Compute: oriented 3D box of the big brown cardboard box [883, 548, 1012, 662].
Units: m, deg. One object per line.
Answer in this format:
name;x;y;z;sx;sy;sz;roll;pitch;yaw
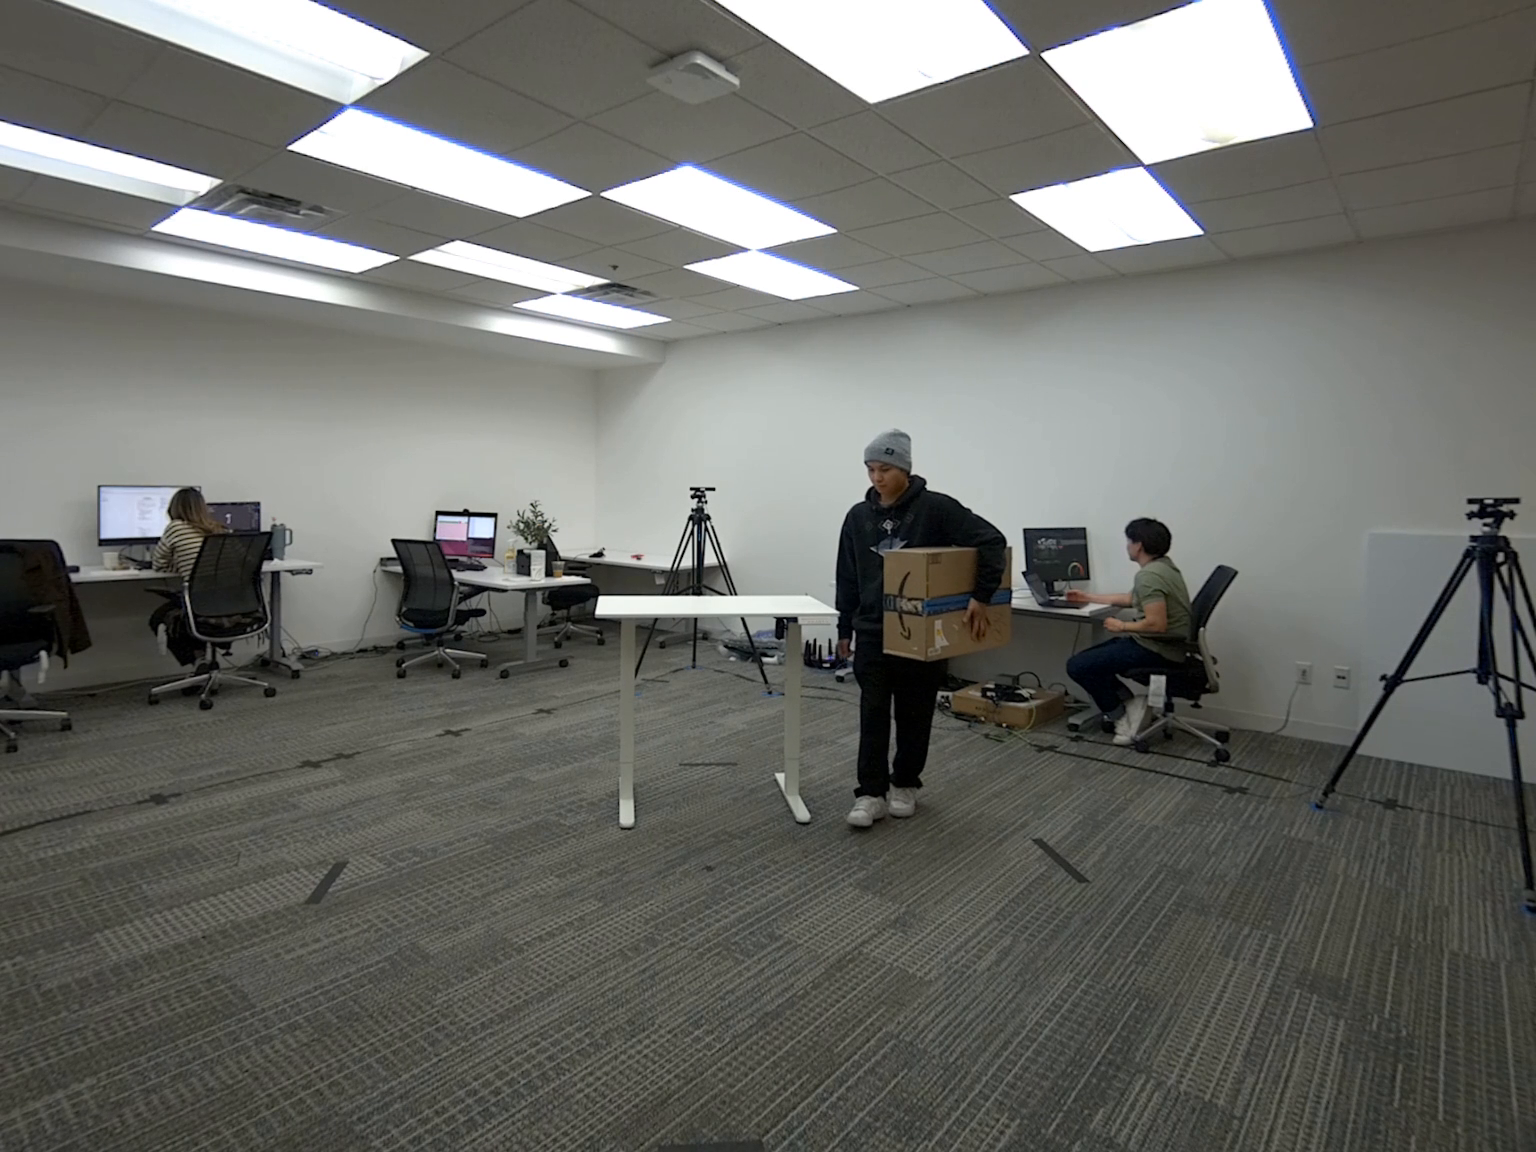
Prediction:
big brown cardboard box;0.729;0.092;3.452;0.572;0.416;0.241;-3;4;-37
